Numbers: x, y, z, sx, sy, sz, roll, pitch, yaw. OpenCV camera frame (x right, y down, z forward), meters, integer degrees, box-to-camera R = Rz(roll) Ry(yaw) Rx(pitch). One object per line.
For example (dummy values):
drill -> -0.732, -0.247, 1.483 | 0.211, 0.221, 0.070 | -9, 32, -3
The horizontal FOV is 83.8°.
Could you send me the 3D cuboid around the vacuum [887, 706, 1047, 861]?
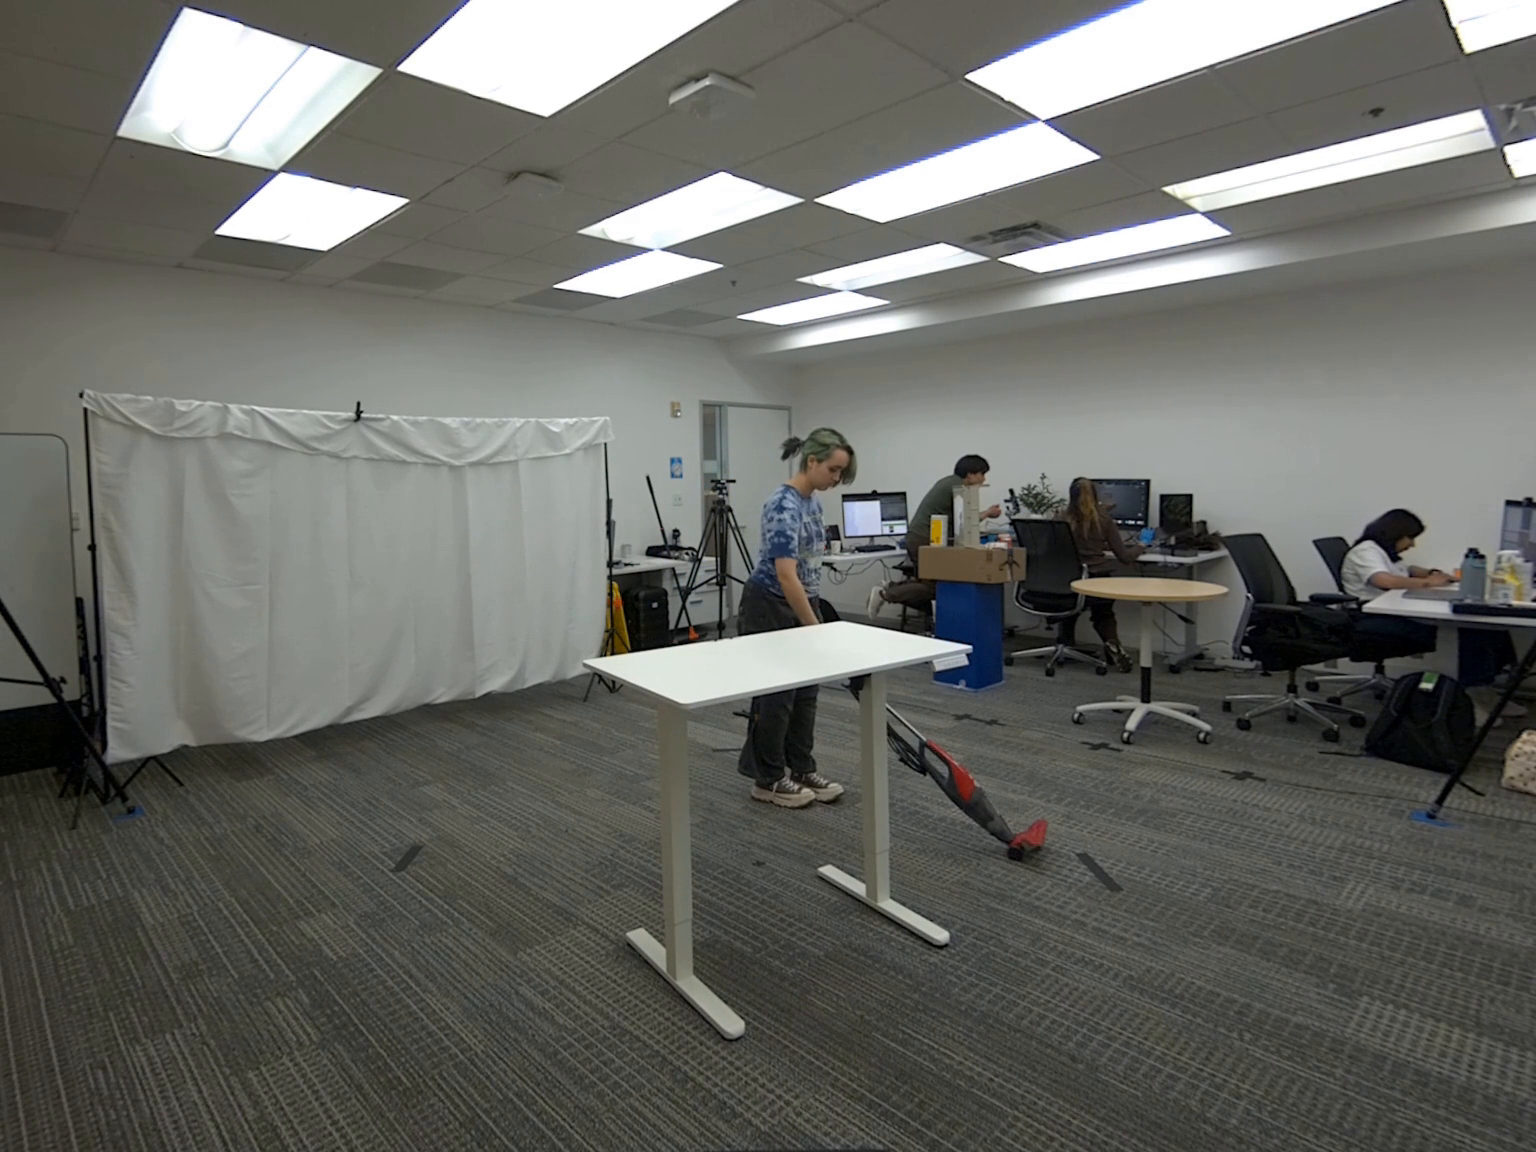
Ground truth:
vacuum -> 0.586, 0.667, 3.290 | 1.075, 0.143, 0.247 | 40, 17, 18
